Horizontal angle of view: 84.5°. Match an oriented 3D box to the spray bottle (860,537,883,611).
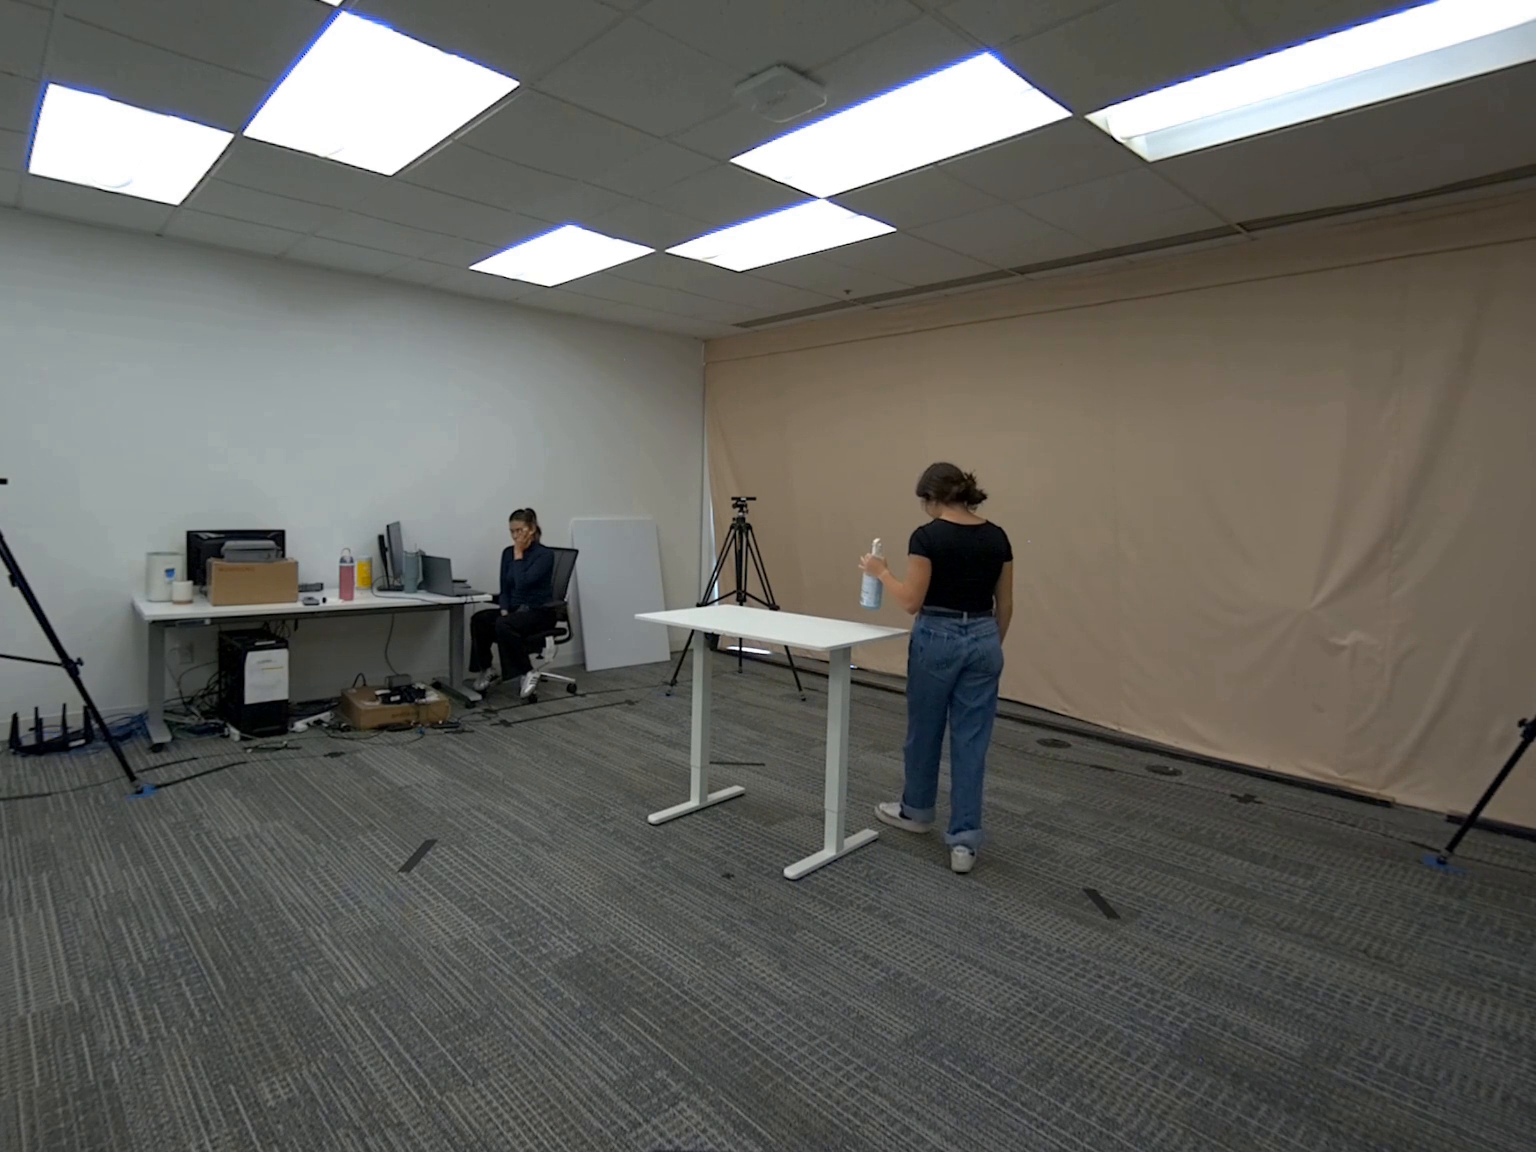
[{"bbox_3d":[0.438,-0.012,3.479,0.088,0.294,0.089,-11,22,-43],"label":"spray bottle"}]
